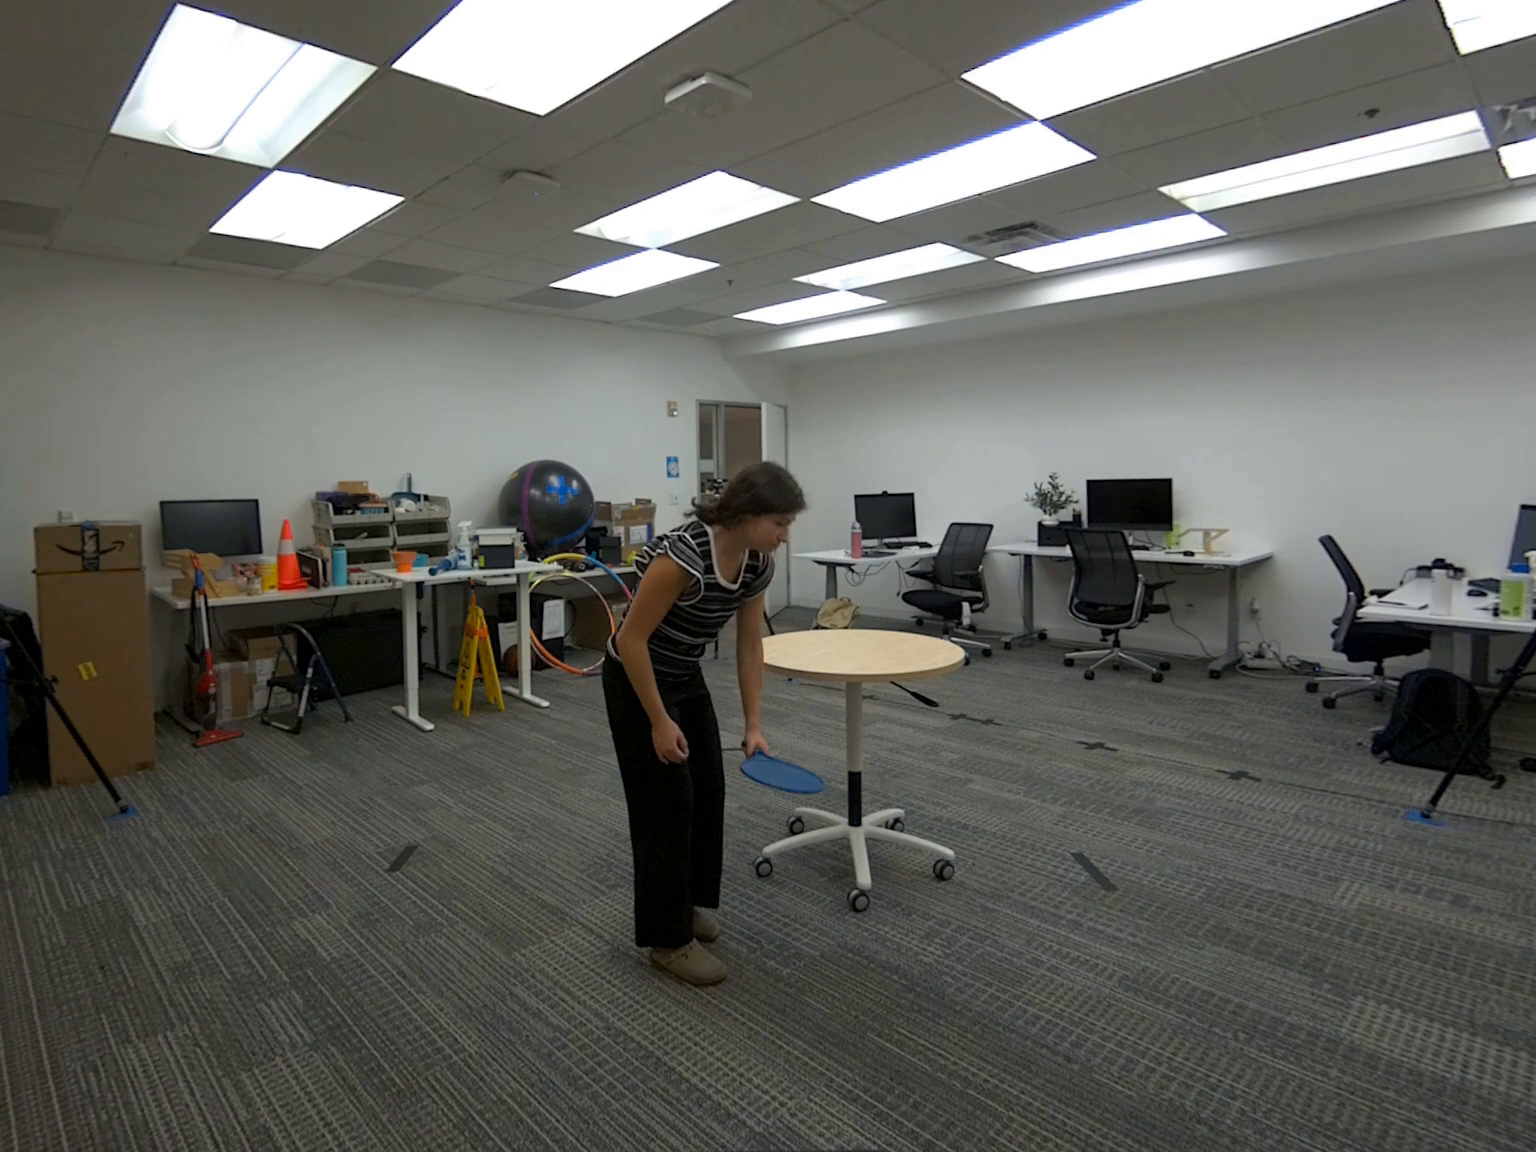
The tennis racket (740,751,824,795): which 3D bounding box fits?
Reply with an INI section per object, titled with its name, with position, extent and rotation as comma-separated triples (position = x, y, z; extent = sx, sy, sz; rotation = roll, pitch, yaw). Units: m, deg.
[tennis racket]
position = 0.004, 0.518, 2.301
extent = 0.209, 0.032, 0.441
rotation = 9, 1, -20
